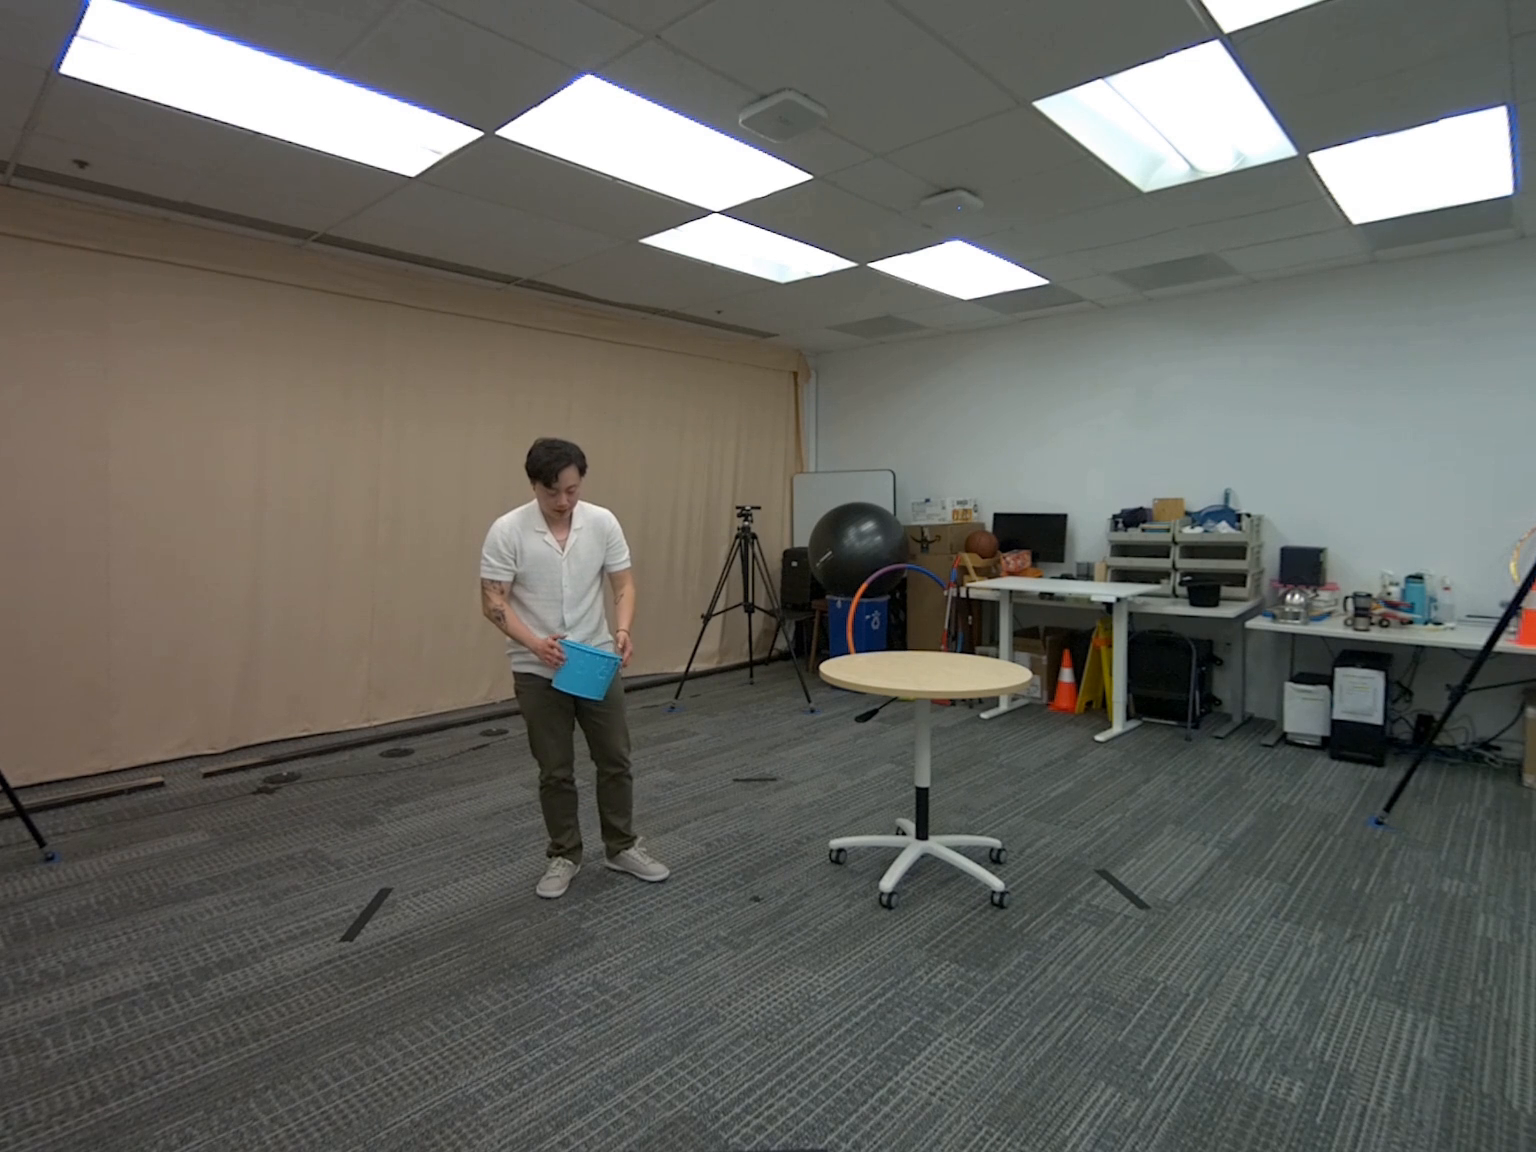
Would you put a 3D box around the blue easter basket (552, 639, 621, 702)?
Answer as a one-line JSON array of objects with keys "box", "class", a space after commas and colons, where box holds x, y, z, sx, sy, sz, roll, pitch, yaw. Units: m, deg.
[{"box": [-0.613, 0.323, 2.834, 0.244, 0.156, 0.243, 14, -3, -1], "class": "blue easter basket"}]
